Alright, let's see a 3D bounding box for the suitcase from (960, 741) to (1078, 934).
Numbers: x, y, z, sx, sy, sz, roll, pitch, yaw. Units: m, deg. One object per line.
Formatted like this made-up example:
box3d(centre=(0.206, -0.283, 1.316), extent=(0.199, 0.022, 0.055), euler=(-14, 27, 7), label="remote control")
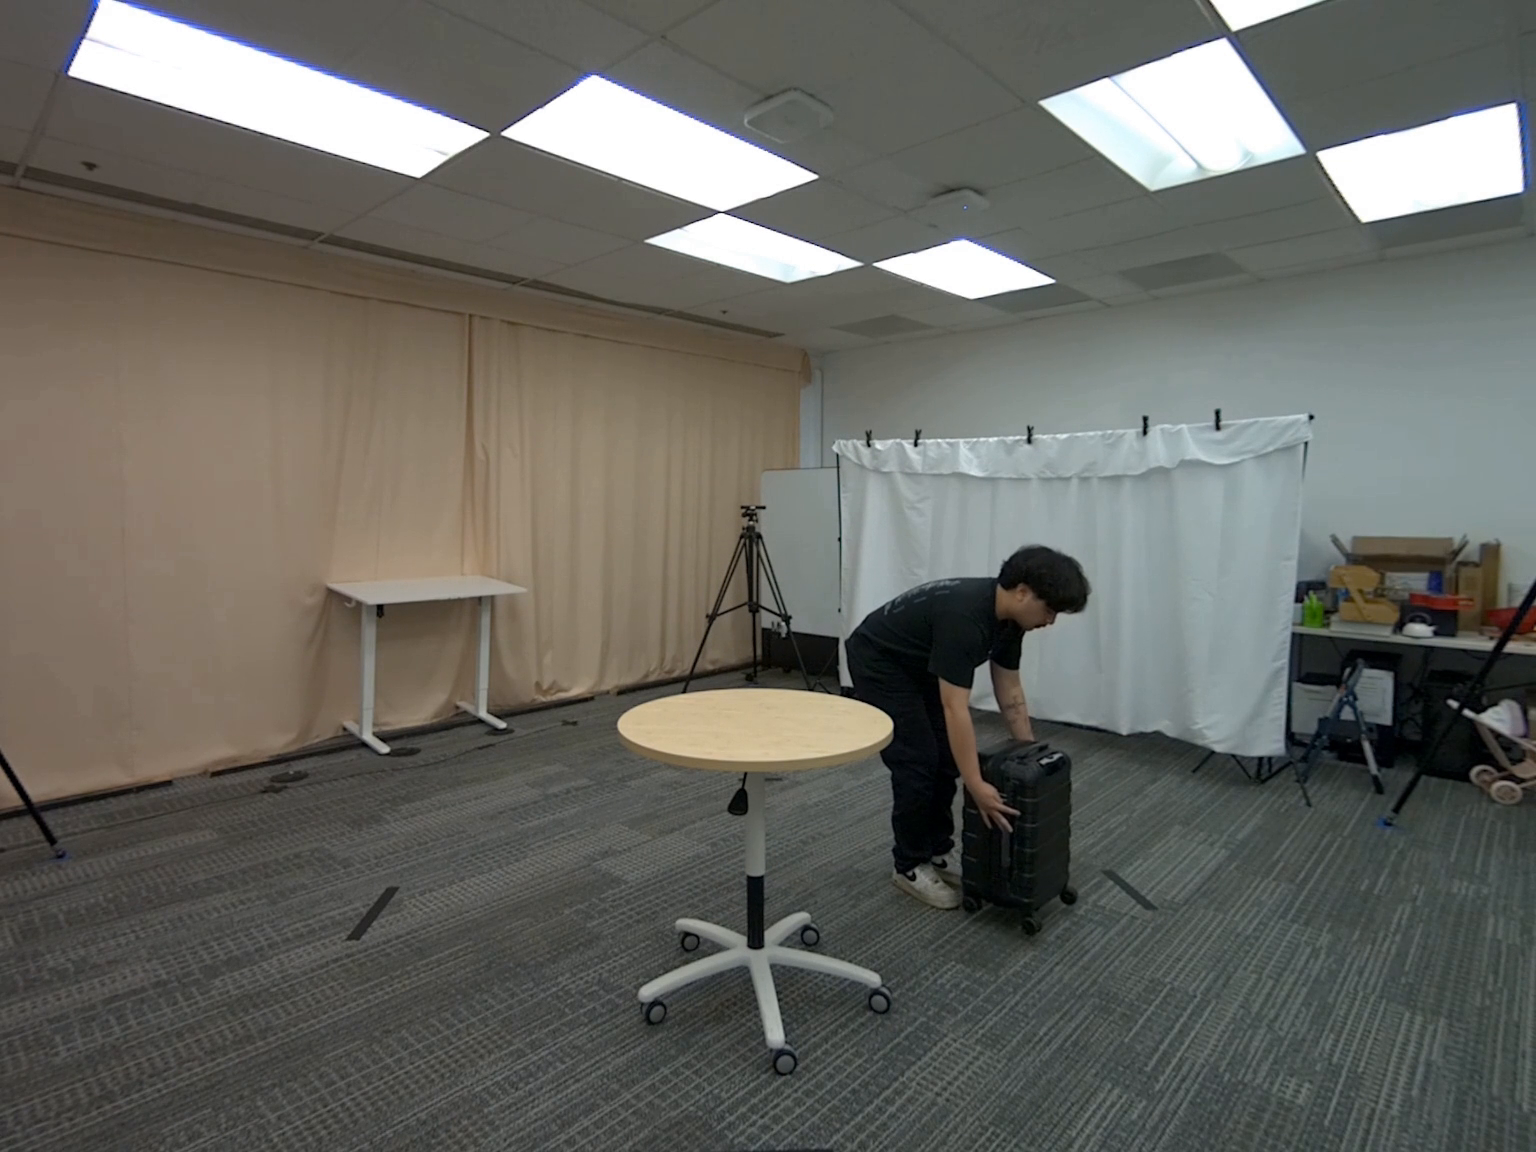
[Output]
box3d(centre=(0.859, 0.851, 2.851), extent=(0.256, 0.549, 0.363), euler=(2, 2, 42), label="suitcase")
